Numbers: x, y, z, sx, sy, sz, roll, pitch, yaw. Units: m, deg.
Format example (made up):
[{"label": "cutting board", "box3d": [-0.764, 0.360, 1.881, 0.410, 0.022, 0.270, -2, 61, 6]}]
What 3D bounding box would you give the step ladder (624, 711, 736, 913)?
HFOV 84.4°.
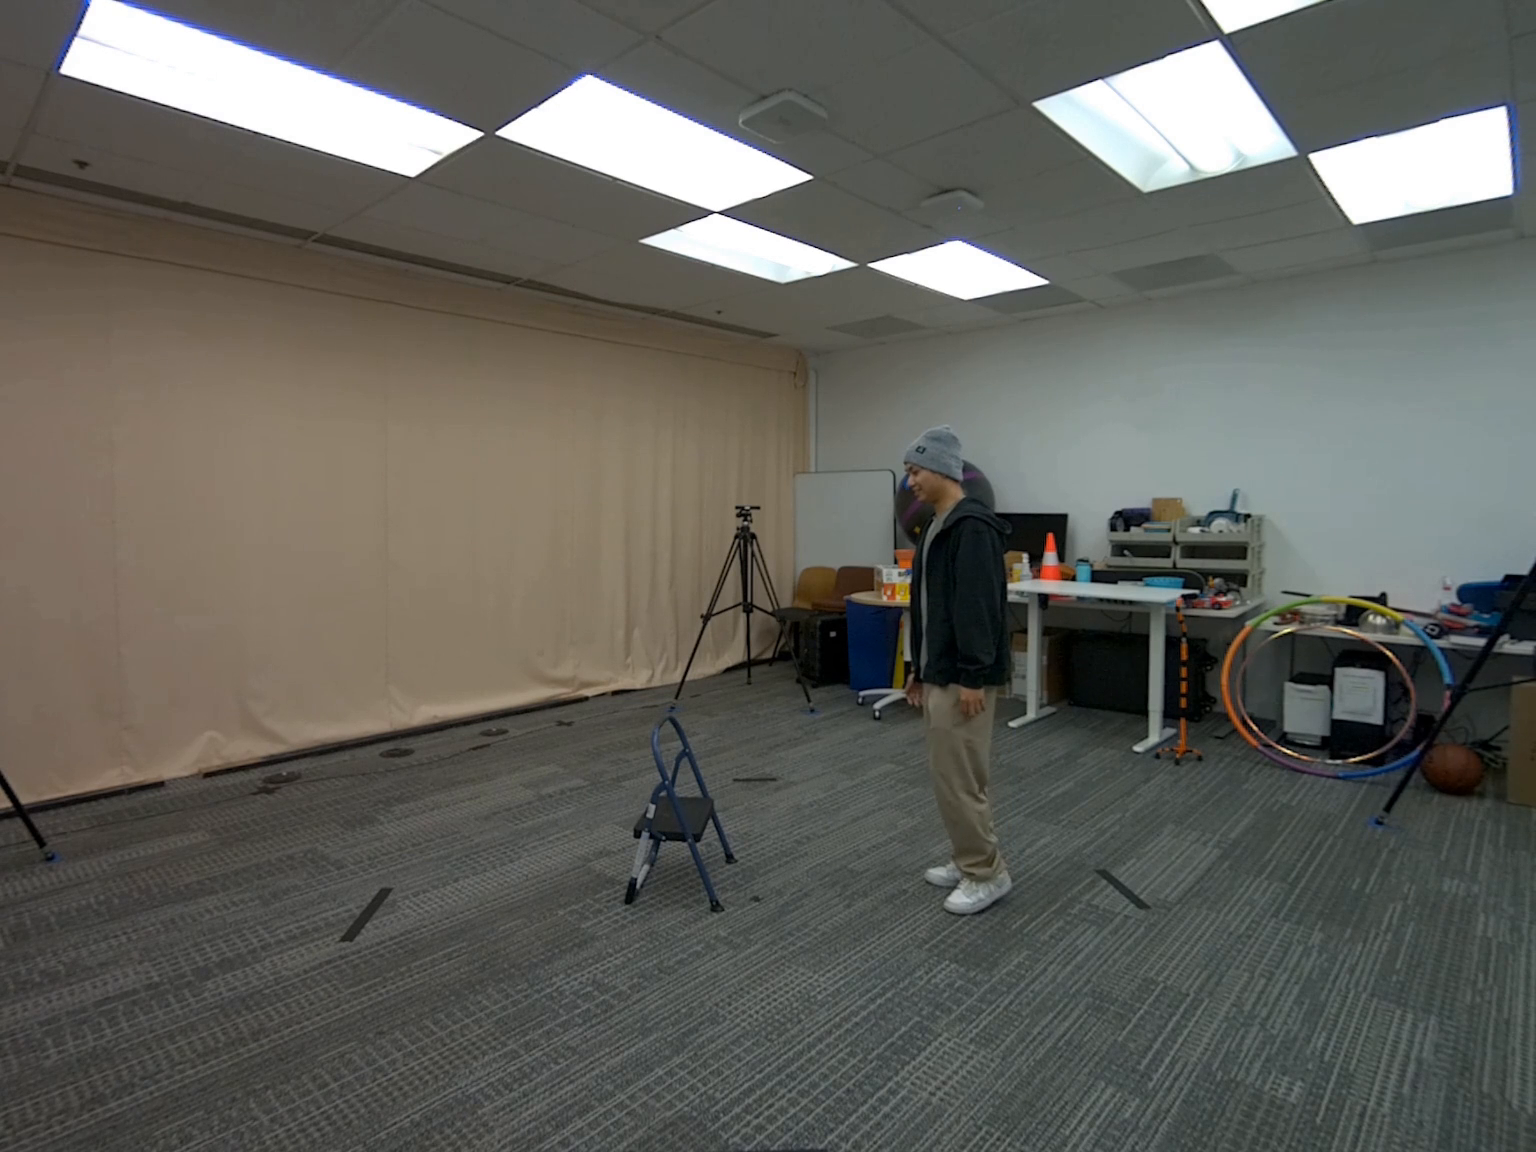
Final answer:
[{"label": "step ladder", "box3d": [-0.315, 0.836, 3.111, 0.352, 0.604, 0.428, 0, 4, 6]}]
